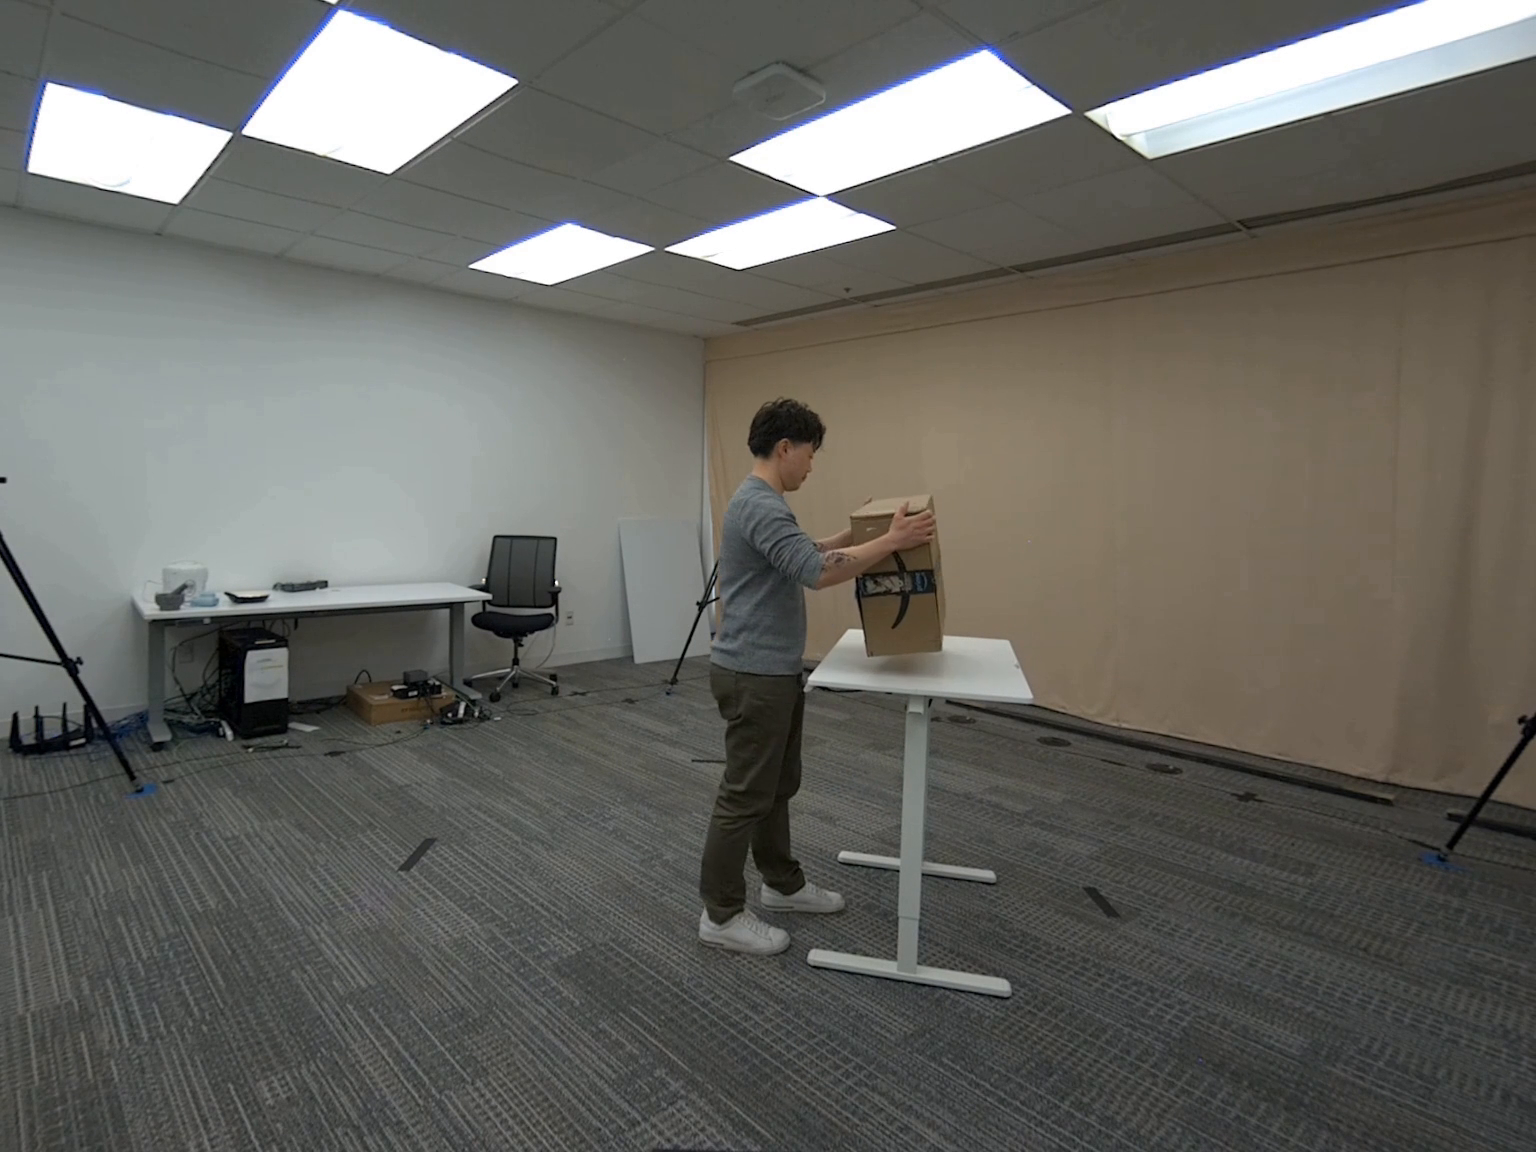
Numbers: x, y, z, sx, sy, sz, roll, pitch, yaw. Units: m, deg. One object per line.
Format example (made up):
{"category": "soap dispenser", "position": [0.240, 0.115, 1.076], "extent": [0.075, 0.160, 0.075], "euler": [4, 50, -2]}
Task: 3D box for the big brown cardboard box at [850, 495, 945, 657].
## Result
{"category": "big brown cardboard box", "position": [0.419, -0.018, 2.666], "extent": [0.236, 0.415, 0.585], "euler": [-6, 7, 15]}
